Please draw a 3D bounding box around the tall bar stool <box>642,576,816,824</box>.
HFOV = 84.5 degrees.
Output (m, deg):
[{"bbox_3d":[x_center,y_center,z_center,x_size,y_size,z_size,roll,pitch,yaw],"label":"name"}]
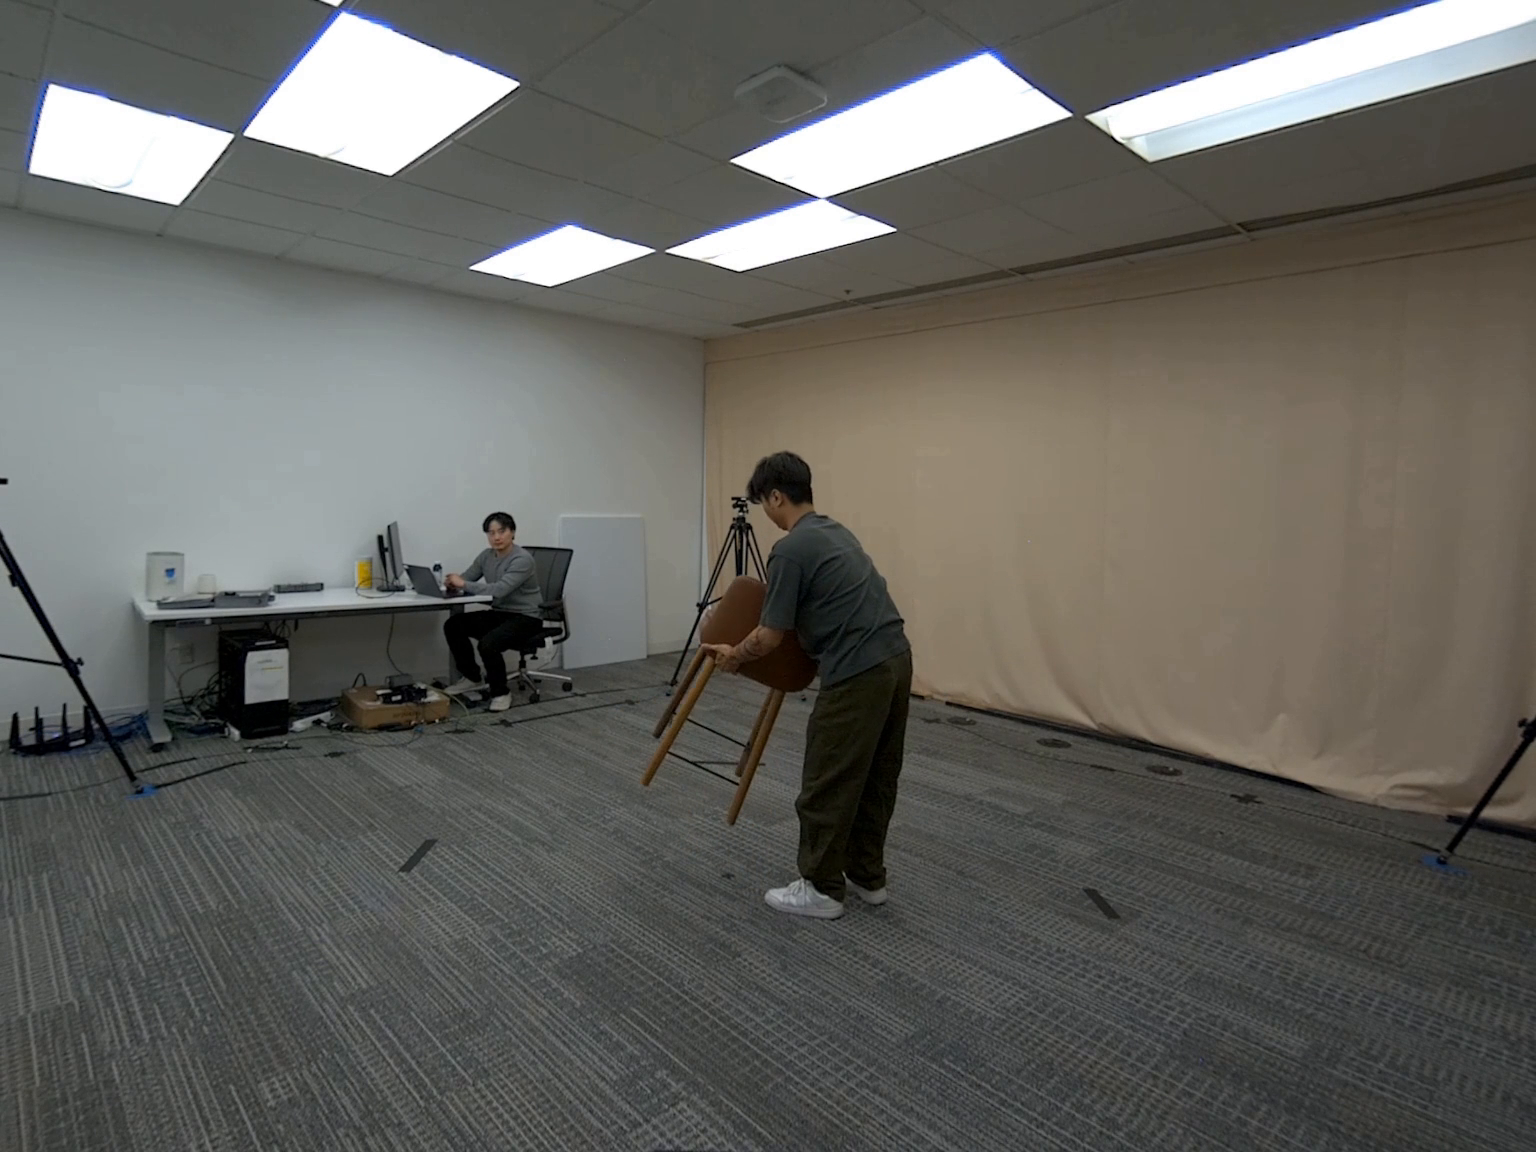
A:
[{"bbox_3d":[-0.120,0.414,3.216,0.455,0.886,0.471,24,11,-4],"label":"tall bar stool"}]
